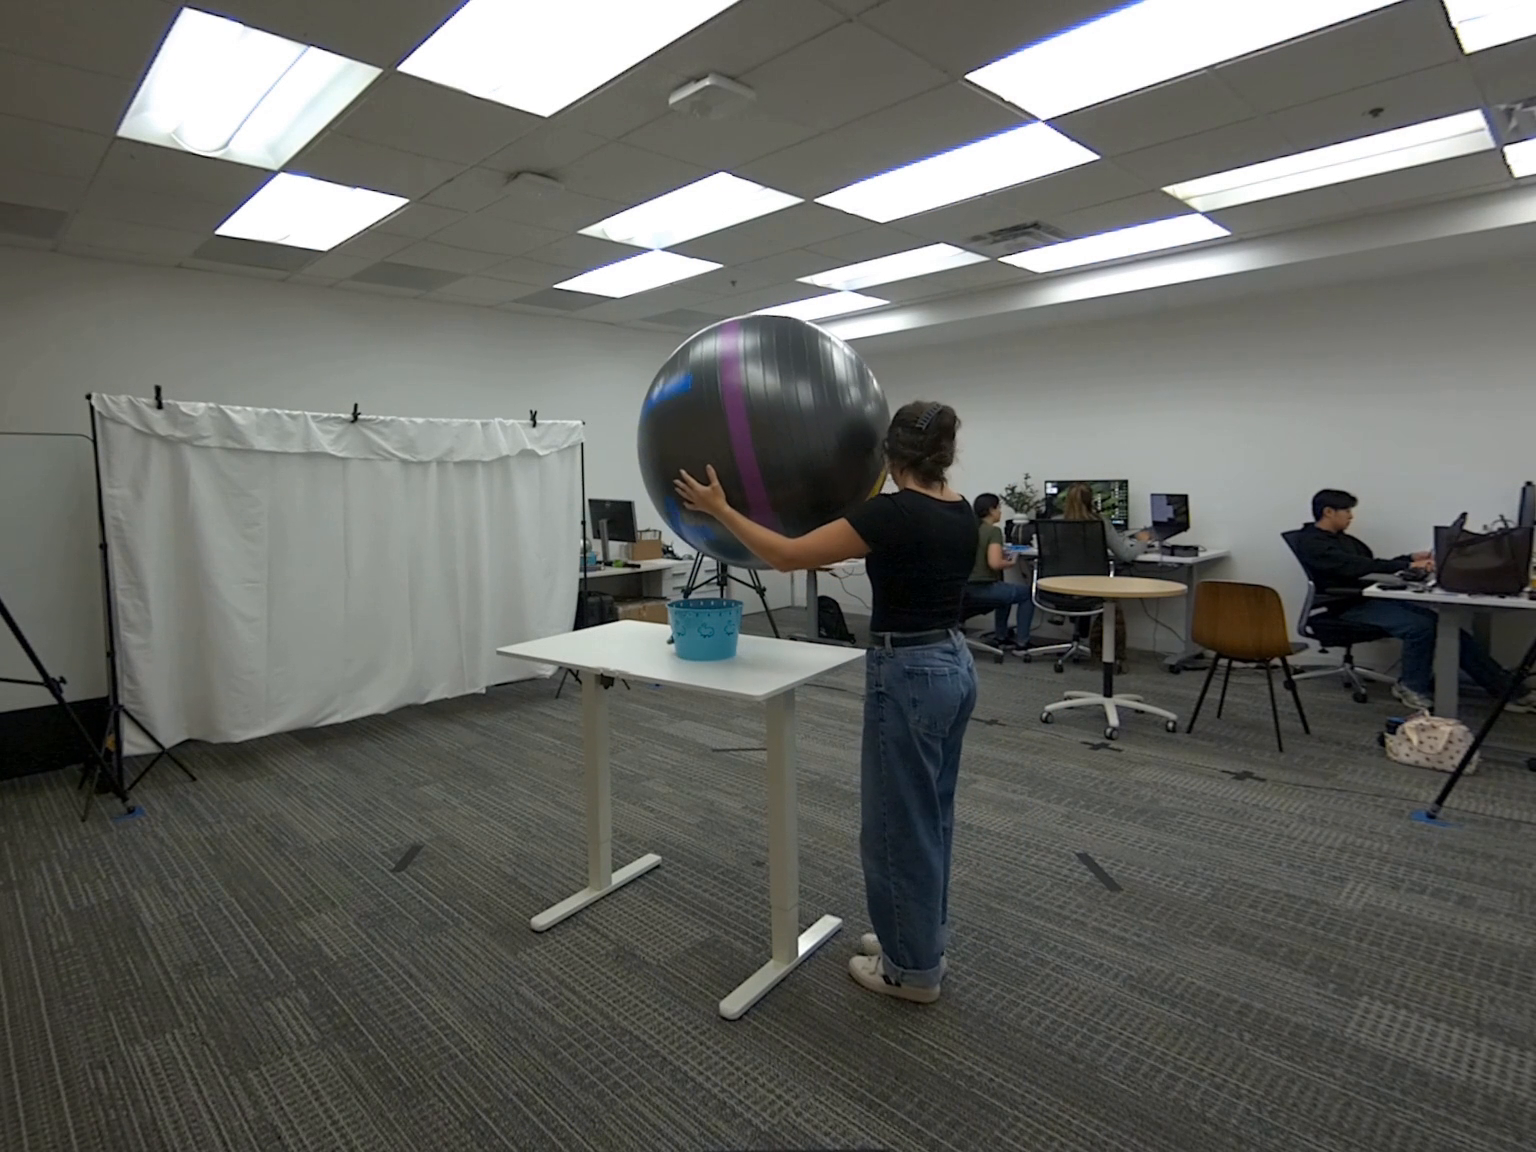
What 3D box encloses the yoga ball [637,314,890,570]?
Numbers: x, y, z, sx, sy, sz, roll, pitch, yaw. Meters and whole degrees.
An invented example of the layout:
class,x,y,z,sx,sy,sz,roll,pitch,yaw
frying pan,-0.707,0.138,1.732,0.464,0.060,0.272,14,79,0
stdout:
class,x,y,z,sx,sy,sz,roll,pitch,yaw
yoga ball,-0.012,-0.393,2.573,0.757,0.755,0.762,-1,5,-2
